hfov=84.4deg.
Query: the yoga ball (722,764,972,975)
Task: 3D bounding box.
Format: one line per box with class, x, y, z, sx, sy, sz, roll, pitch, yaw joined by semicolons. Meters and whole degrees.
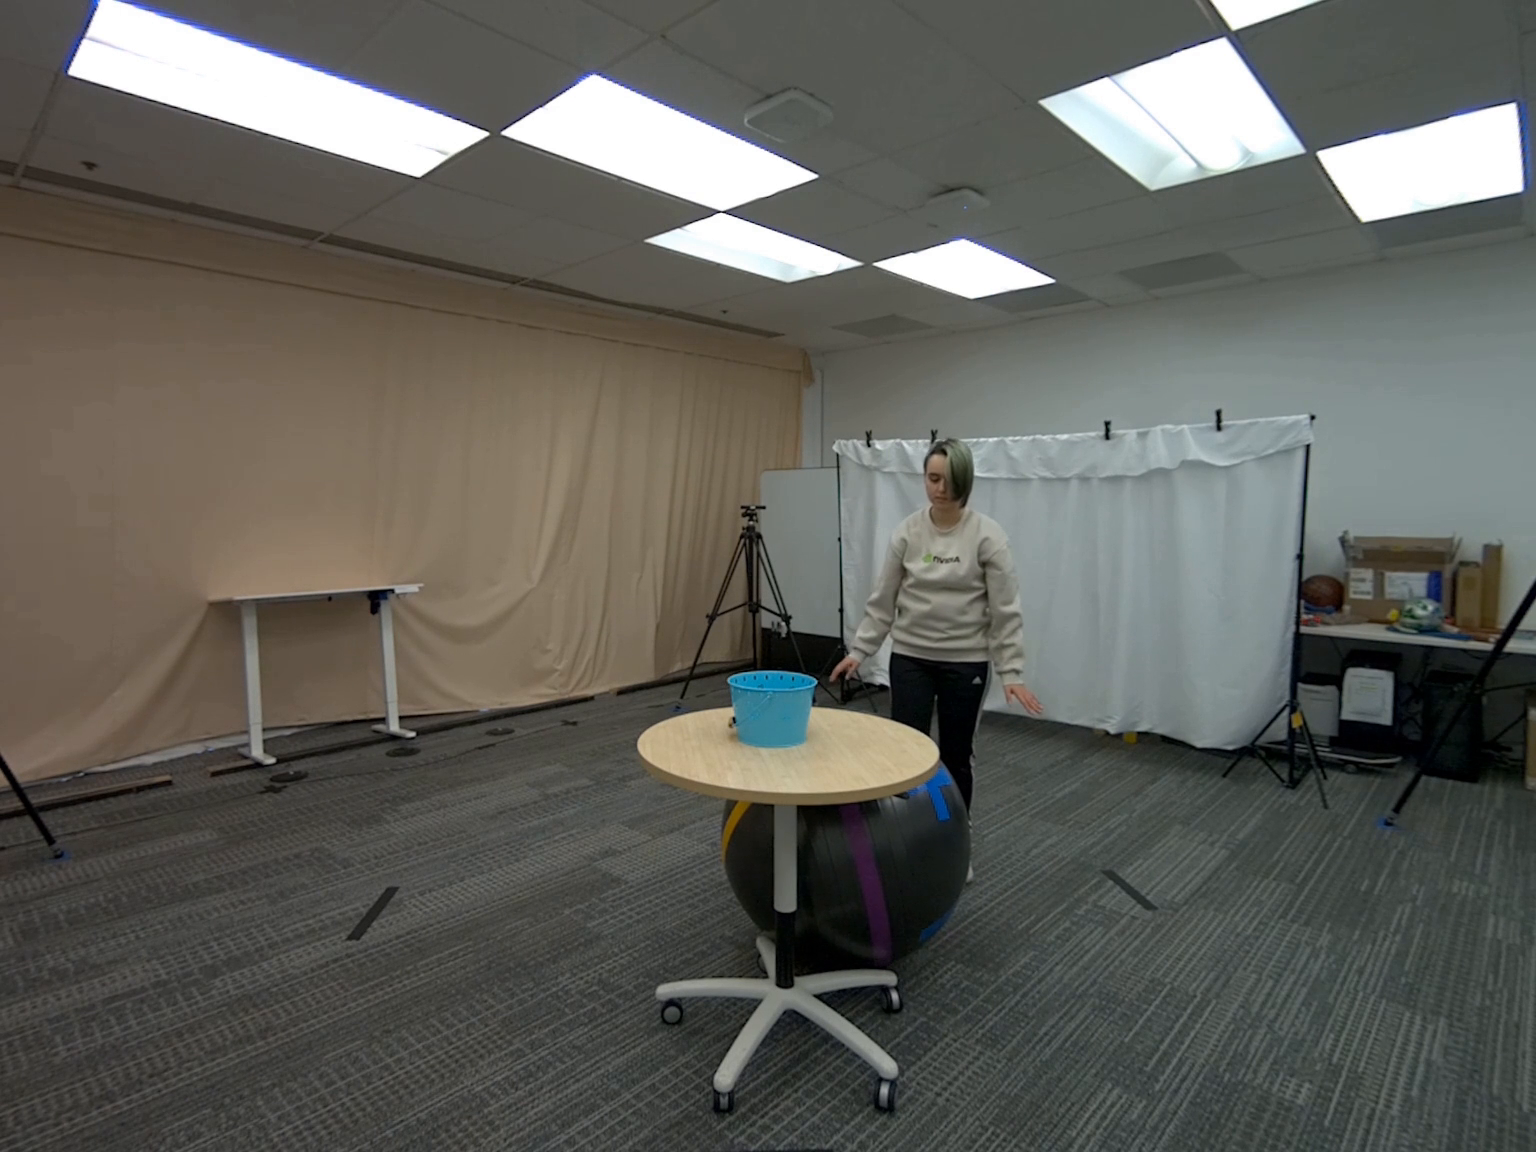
yoga ball;0.233;0.800;2.614;0.757;0.756;0.761;0;4;-2
